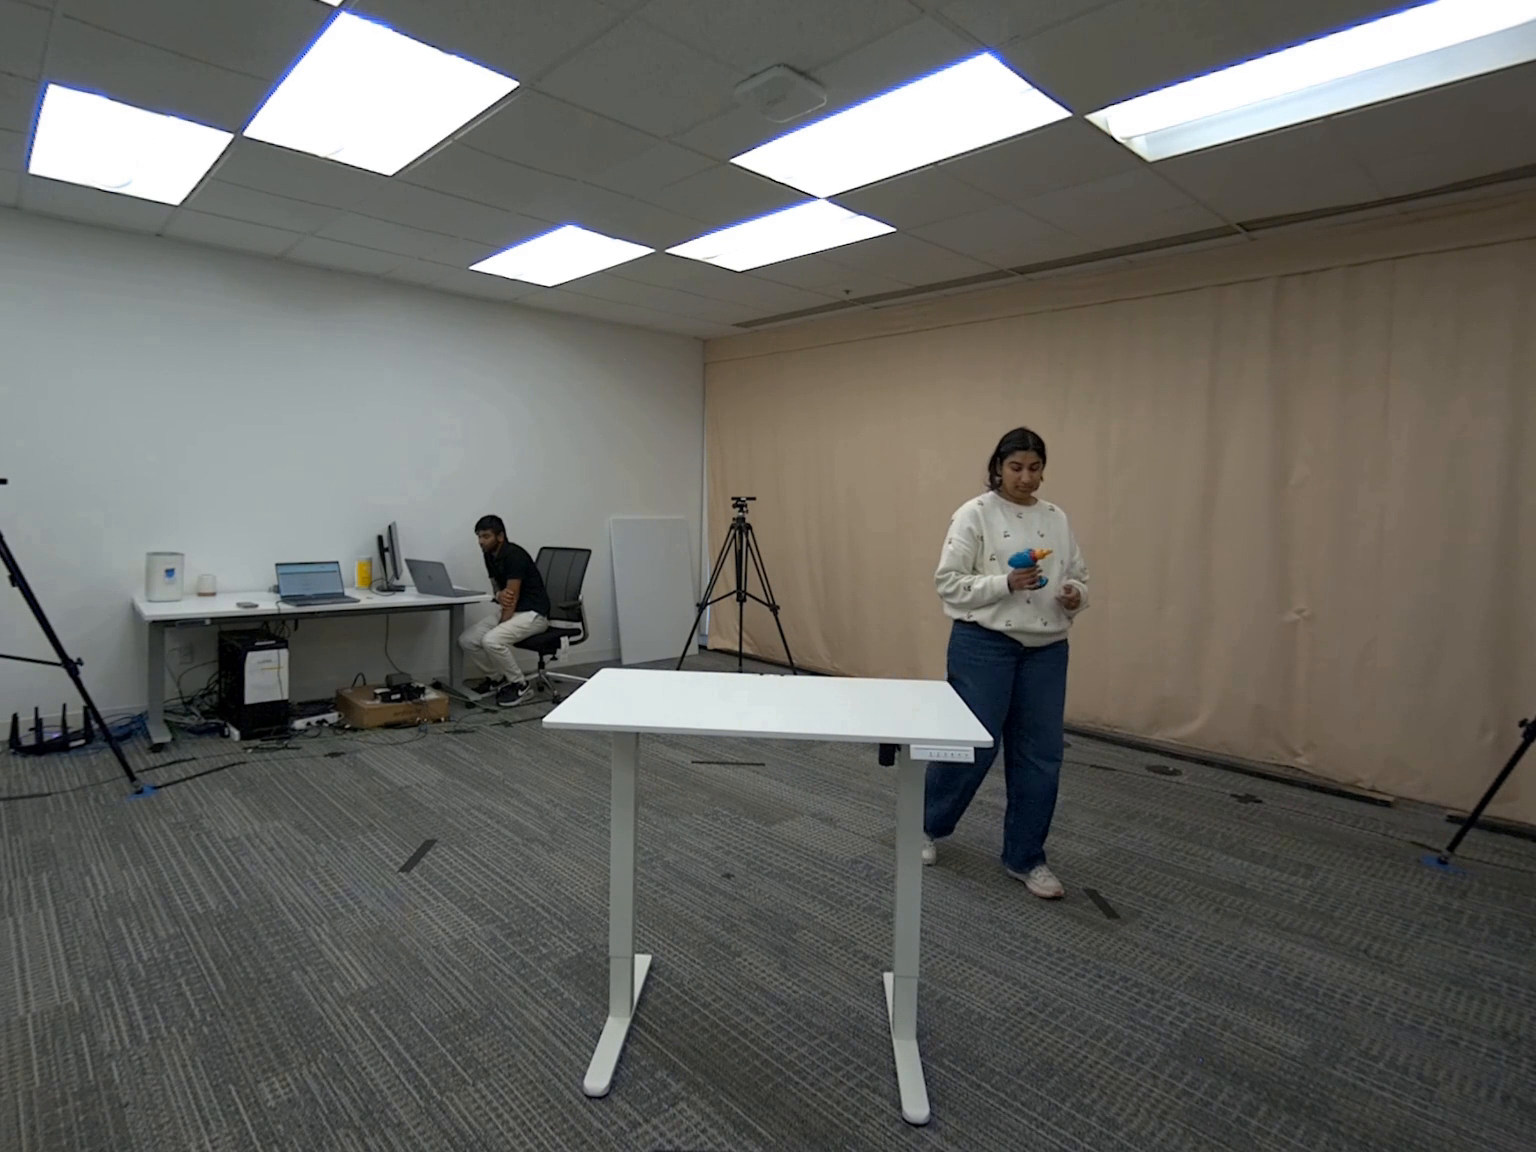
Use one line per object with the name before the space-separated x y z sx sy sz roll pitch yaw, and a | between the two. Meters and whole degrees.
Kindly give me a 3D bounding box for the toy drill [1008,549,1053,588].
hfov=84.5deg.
toy drill | 0.869 -0.034 2.818 0.172 0.144 0.061 -25 19 50
